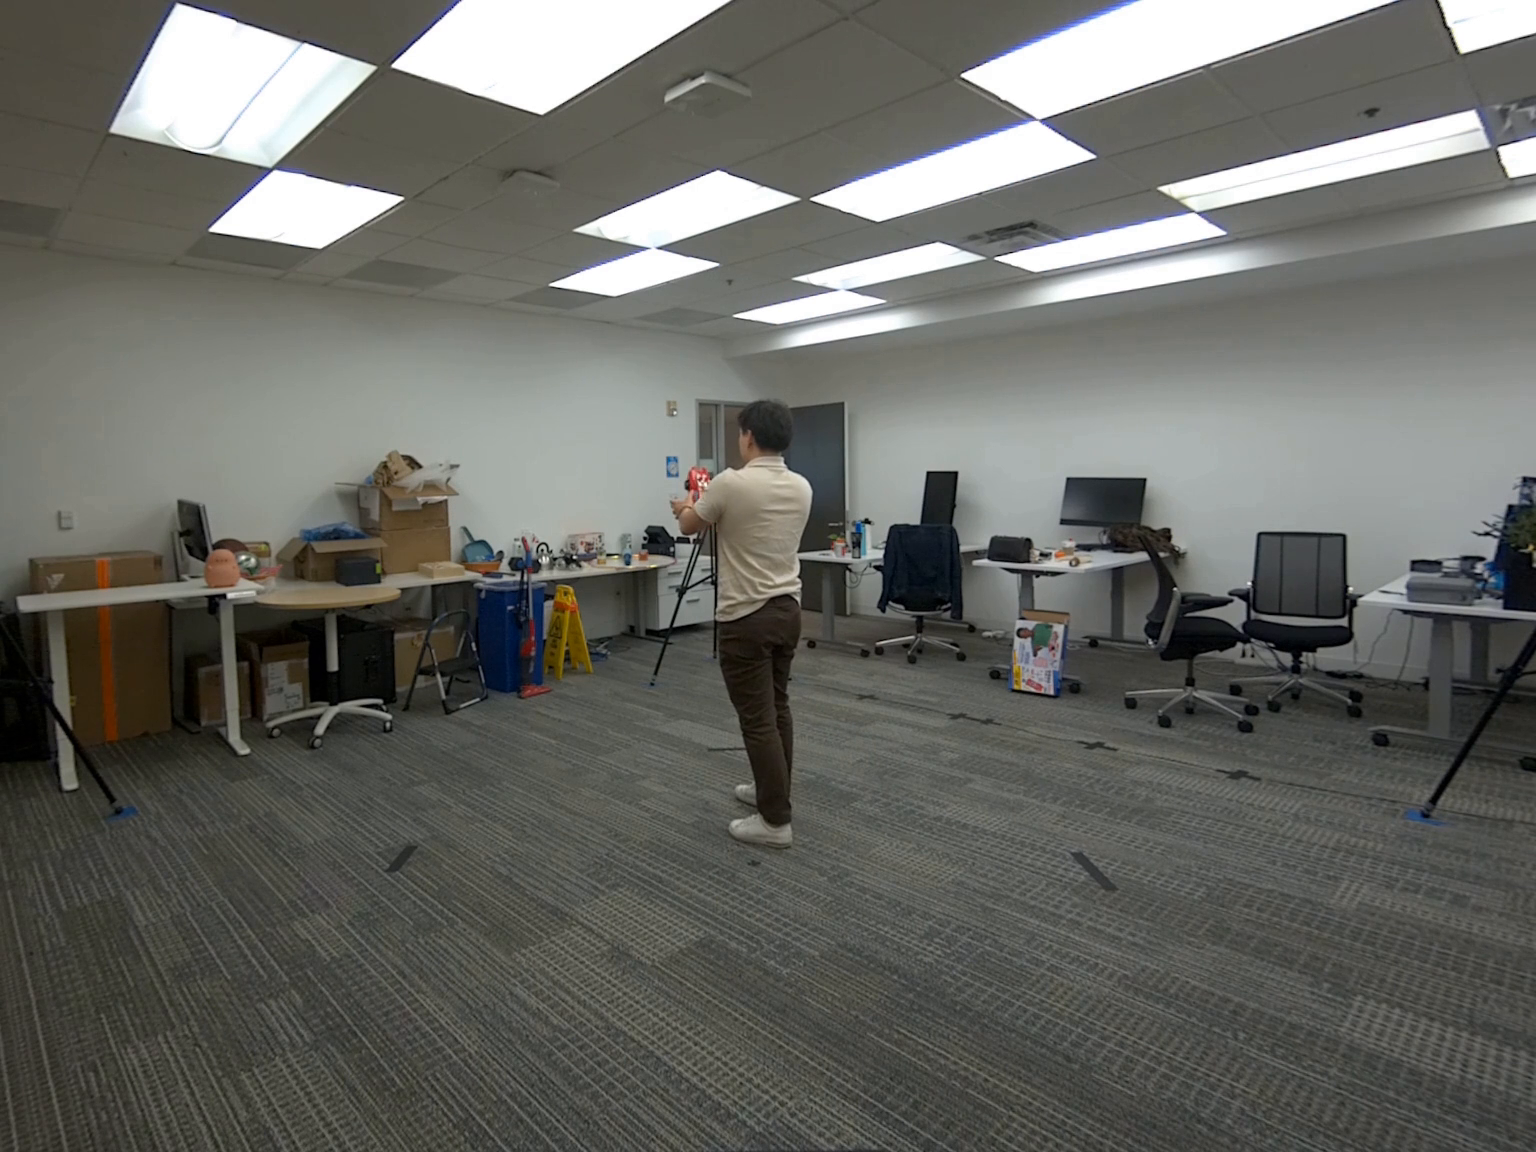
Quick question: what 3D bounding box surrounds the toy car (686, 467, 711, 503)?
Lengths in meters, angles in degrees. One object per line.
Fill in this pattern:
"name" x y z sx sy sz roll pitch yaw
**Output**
"toy car" -0.290 -0.350 3.733 0.127 0.256 0.085 0 -6 -32
